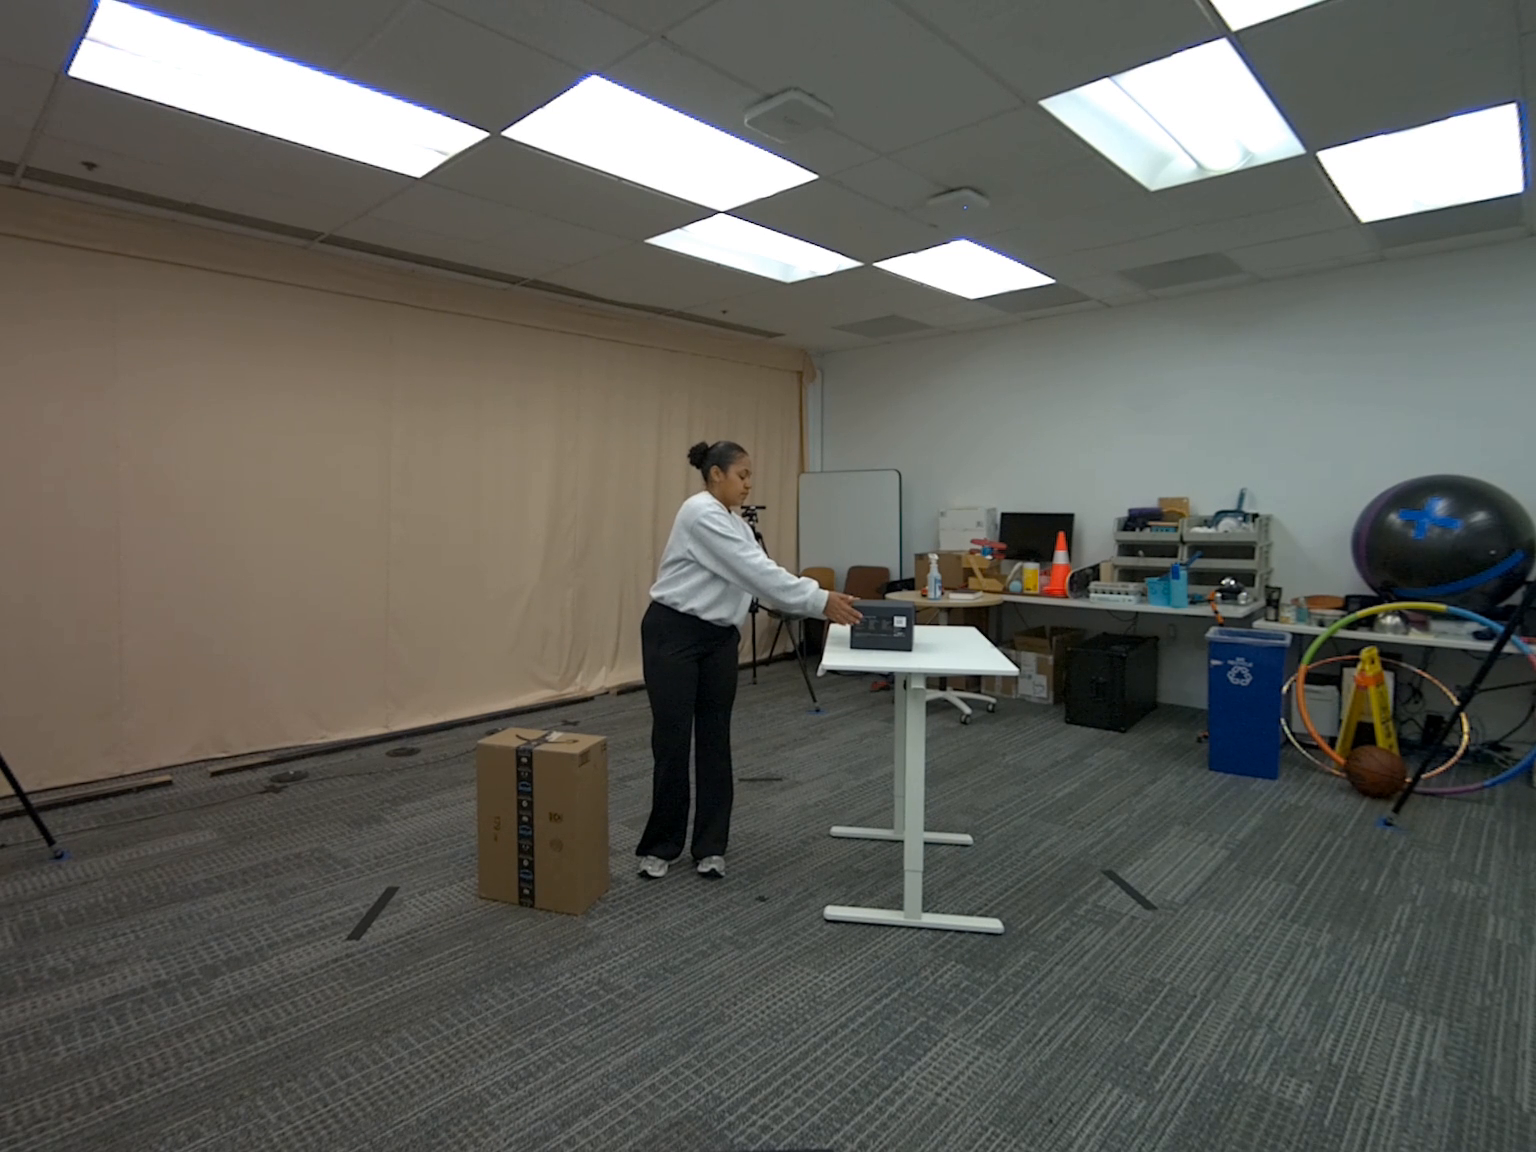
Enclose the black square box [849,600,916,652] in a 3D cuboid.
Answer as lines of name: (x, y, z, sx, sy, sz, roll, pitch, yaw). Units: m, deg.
black square box: (0.425, 0.177, 3.043, 0.220, 0.156, 0.225, 1, 3, 10)
